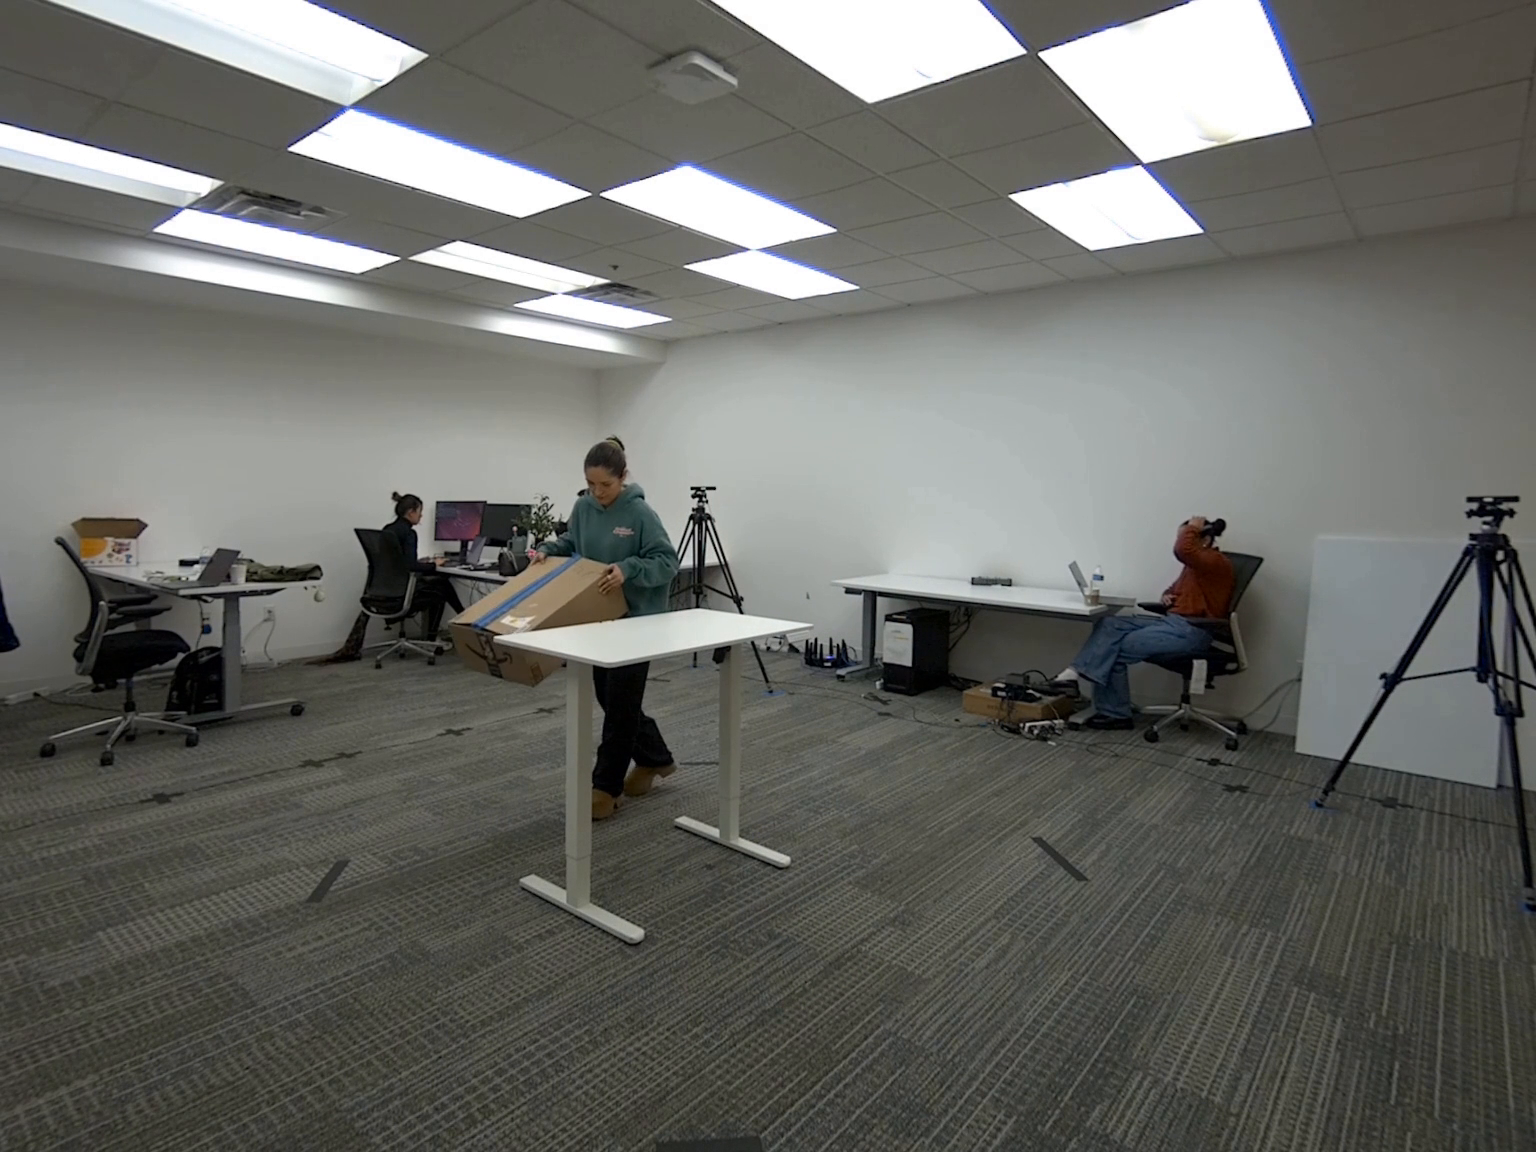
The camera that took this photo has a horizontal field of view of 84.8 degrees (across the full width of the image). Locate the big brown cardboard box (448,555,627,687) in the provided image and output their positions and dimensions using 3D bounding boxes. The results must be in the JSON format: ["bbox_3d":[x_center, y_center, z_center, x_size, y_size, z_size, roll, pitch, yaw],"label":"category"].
[{"bbox_3d":[-0.933,0.163,3.417,0.431,0.227,0.585,5,31,34],"label":"big brown cardboard box"}]
